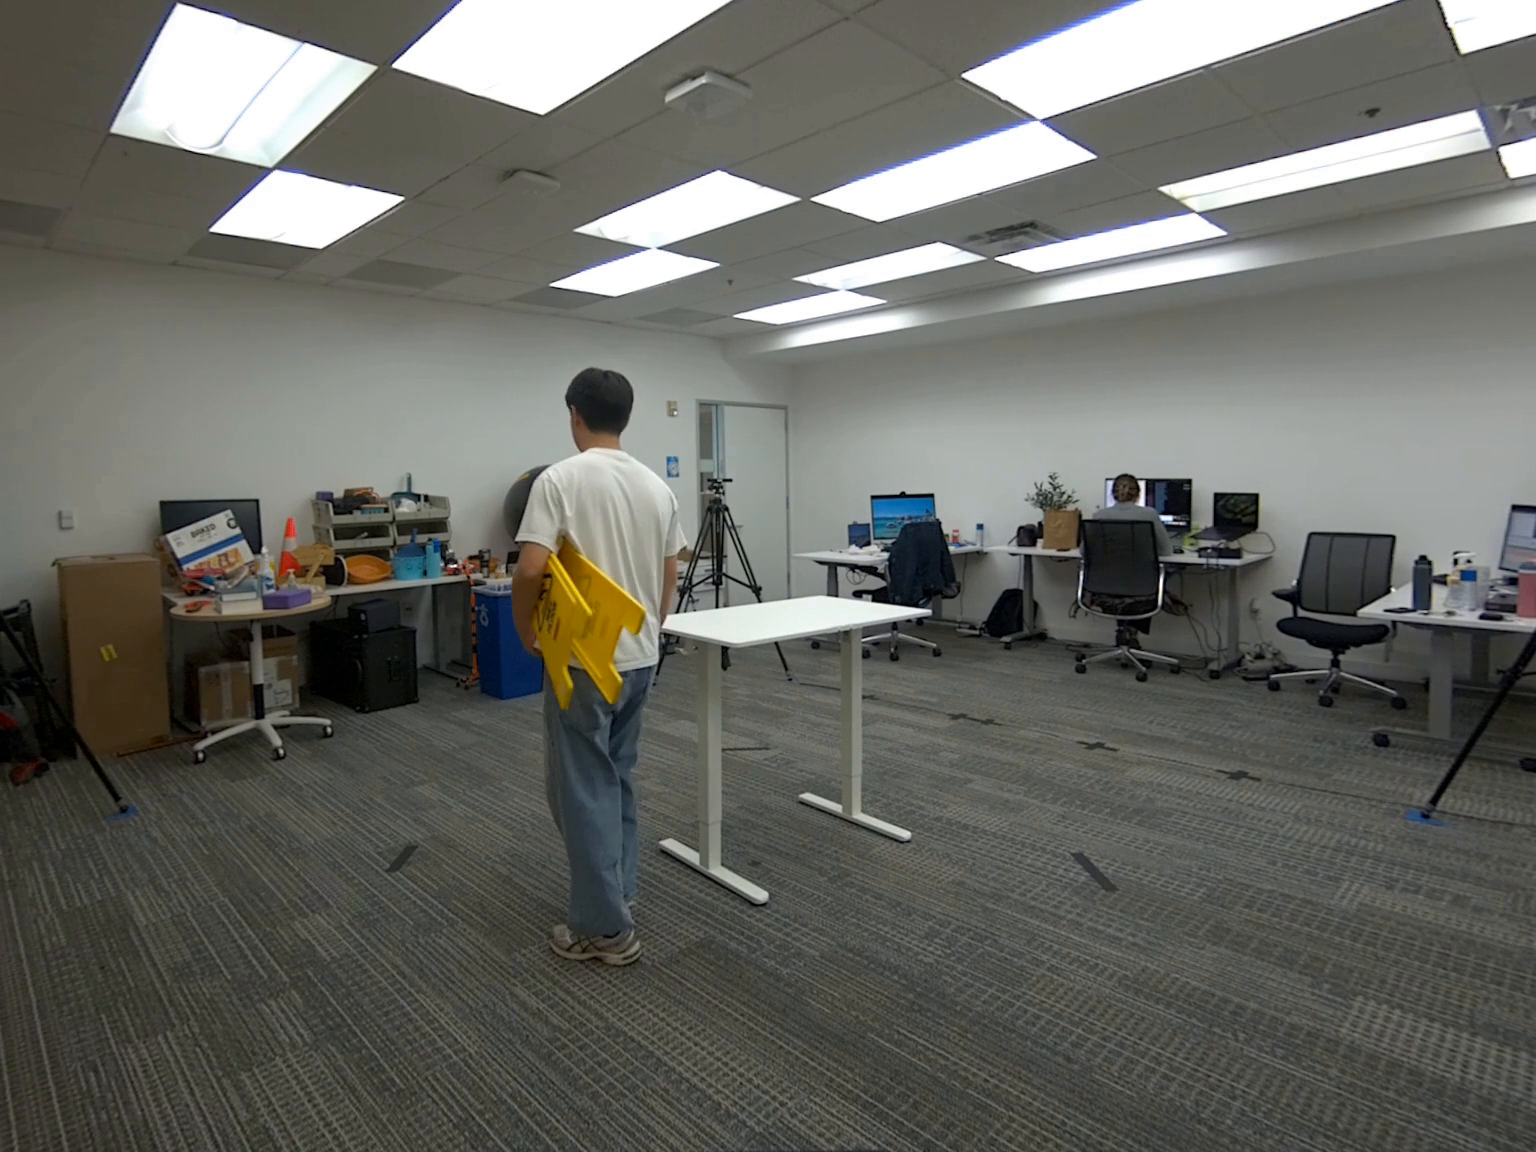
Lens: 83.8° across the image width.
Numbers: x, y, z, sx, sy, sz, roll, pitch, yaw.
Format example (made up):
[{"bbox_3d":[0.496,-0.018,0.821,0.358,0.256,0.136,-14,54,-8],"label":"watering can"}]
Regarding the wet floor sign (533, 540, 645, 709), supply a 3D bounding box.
[{"bbox_3d":[-0.572,0.073,2.376,0.282,0.278,0.672,-3,27,-32],"label":"wet floor sign"}]
